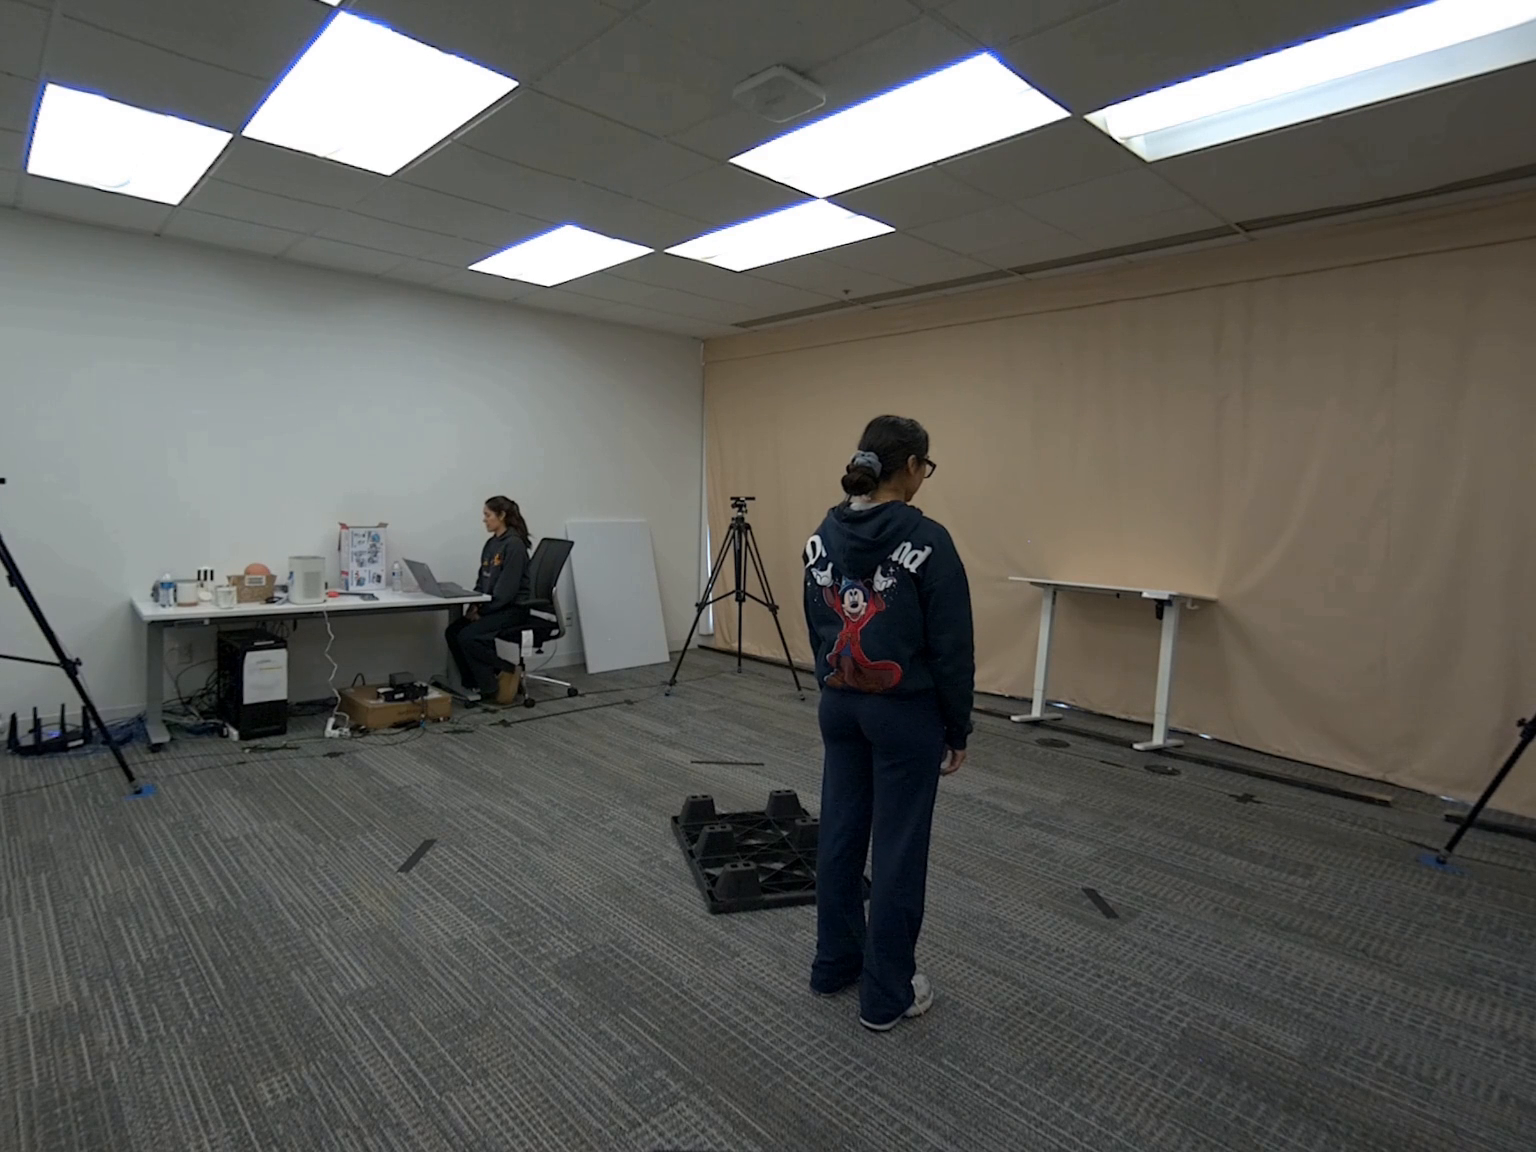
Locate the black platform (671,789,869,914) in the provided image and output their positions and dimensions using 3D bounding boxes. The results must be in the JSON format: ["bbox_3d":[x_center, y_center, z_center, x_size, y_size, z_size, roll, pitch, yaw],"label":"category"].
[{"bbox_3d":[-0.025,1.025,3.263,0.597,0.143,0.818,0,5,-17],"label":"black platform"}]
